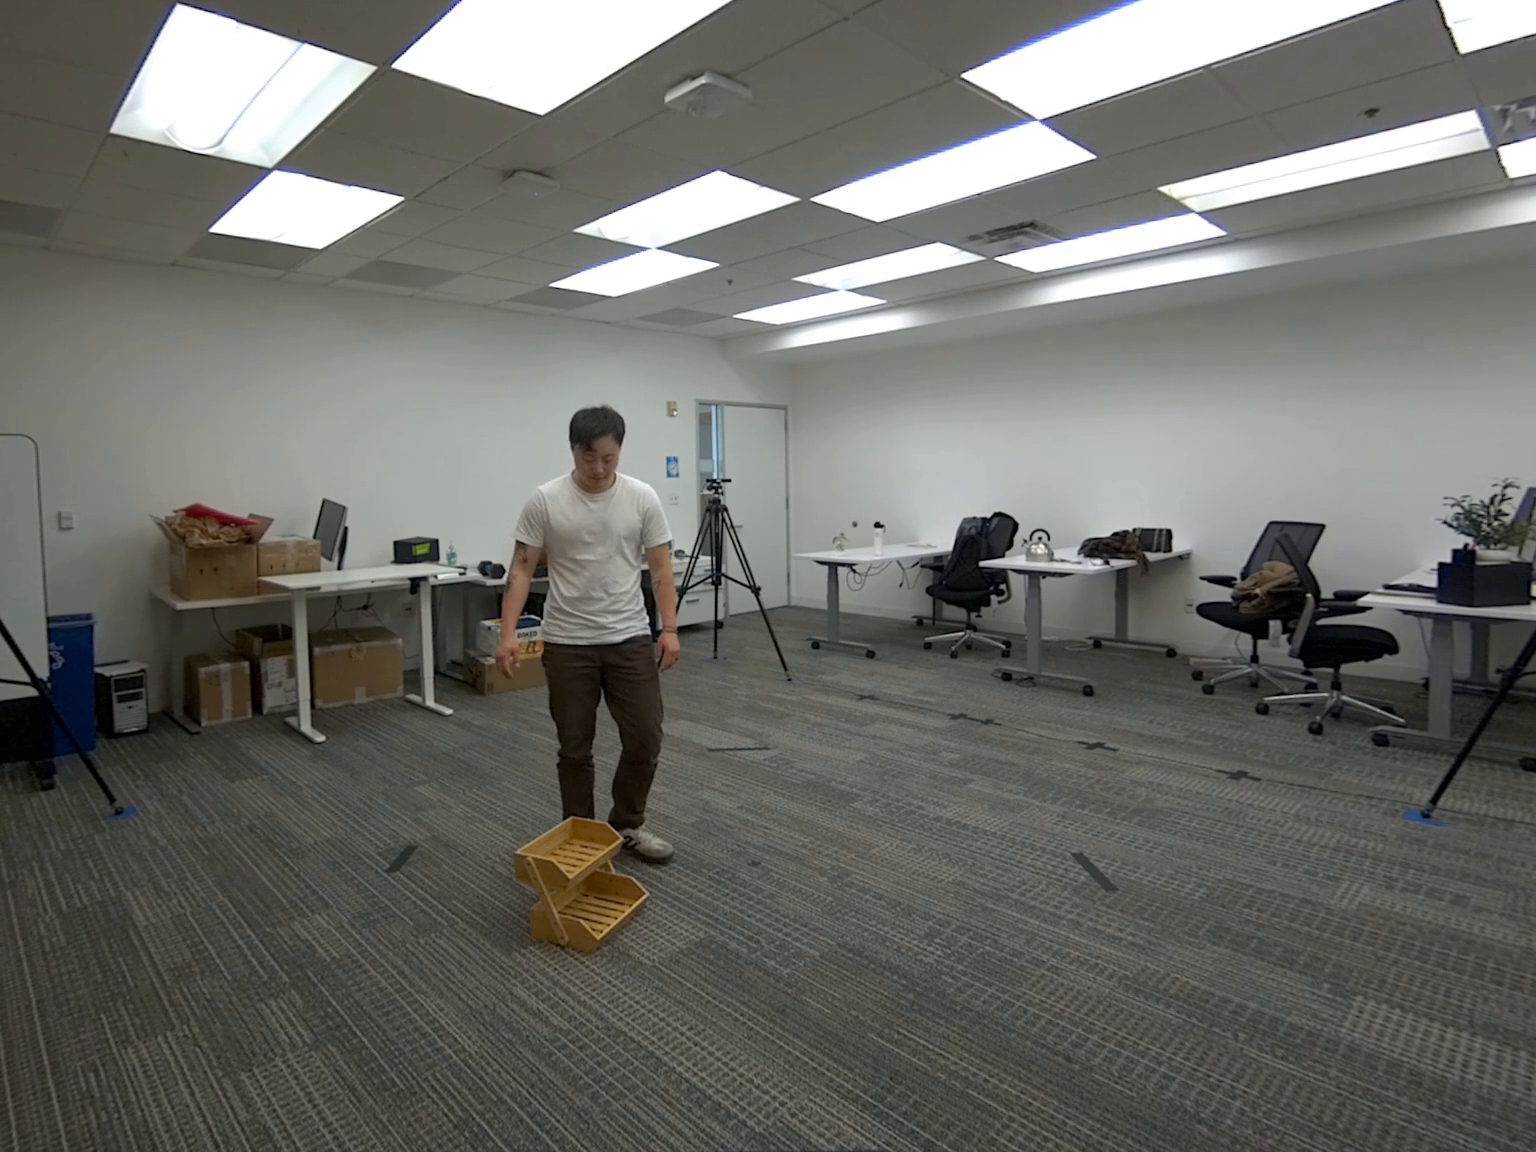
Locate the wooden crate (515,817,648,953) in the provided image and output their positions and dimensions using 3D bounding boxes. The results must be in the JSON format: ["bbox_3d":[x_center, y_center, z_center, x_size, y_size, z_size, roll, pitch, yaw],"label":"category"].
[{"bbox_3d":[-0.580,0.962,2.725,0.309,0.272,0.319,1,6,24],"label":"wooden crate"}]
